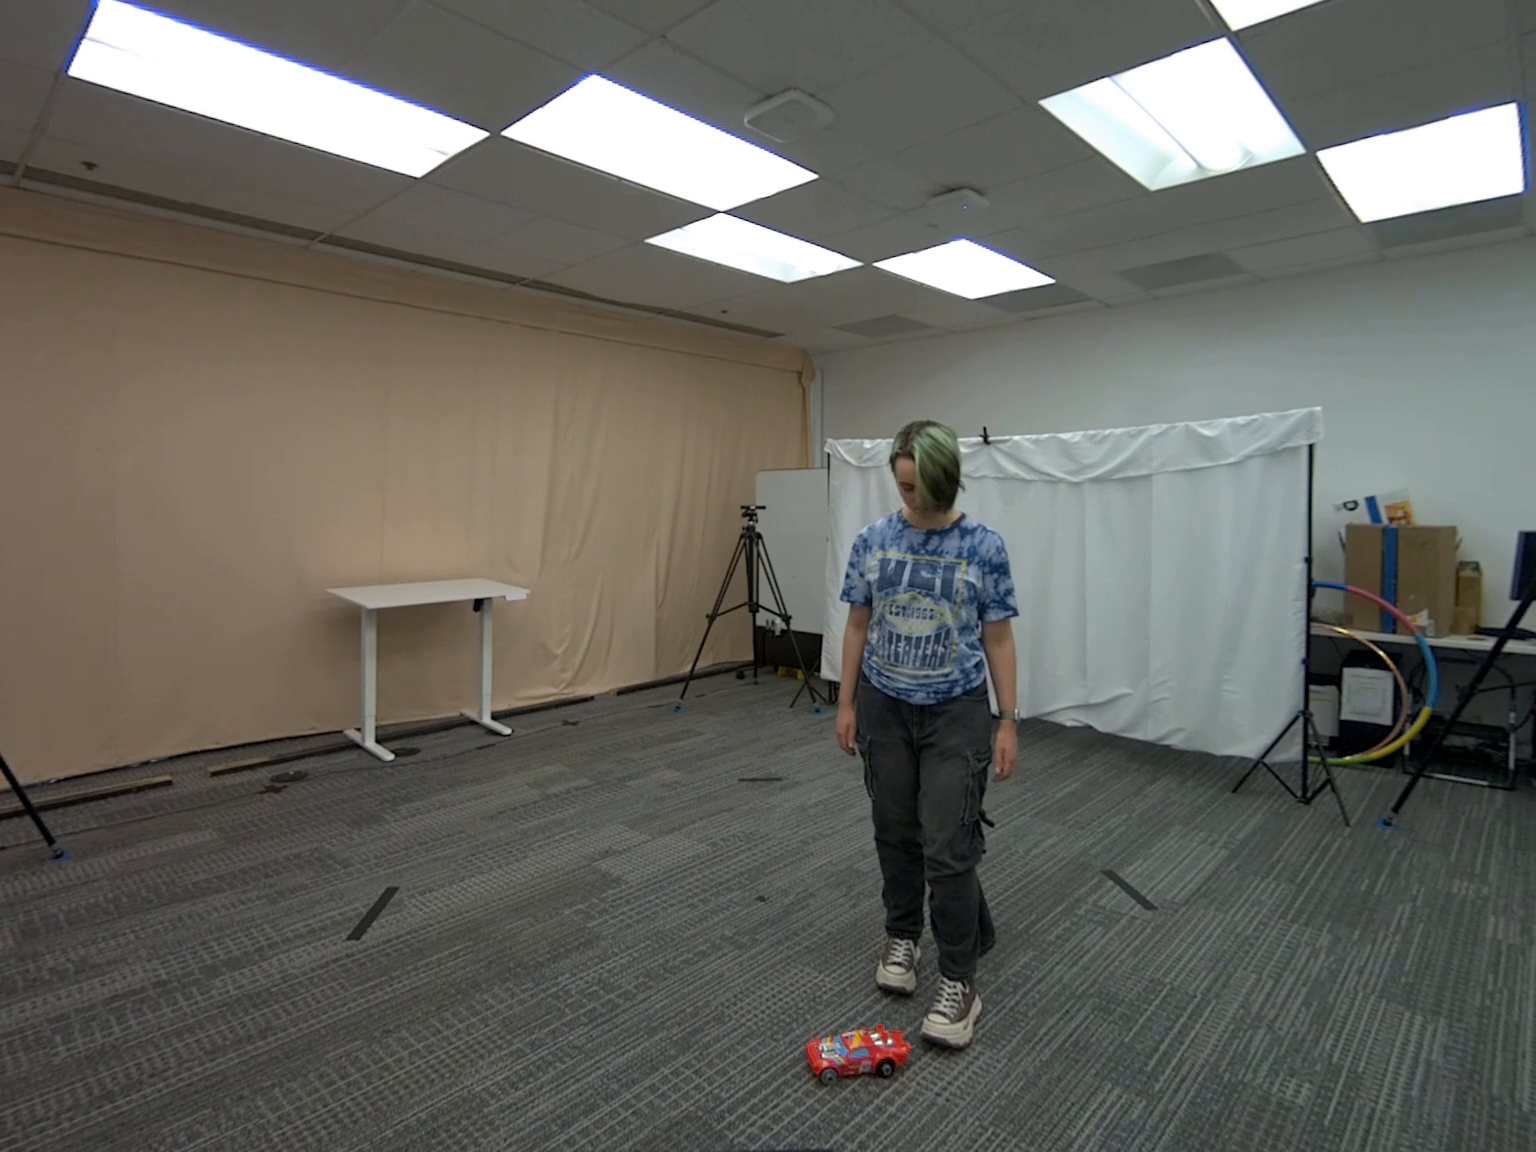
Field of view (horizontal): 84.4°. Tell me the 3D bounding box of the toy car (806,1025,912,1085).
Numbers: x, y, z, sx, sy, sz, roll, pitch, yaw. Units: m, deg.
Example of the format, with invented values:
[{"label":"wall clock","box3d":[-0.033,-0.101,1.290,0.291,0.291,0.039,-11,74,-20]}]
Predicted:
[{"label":"toy car","box3d":[0.235,1.188,2.088,0.252,0.083,0.132,-12,6,-9]}]
